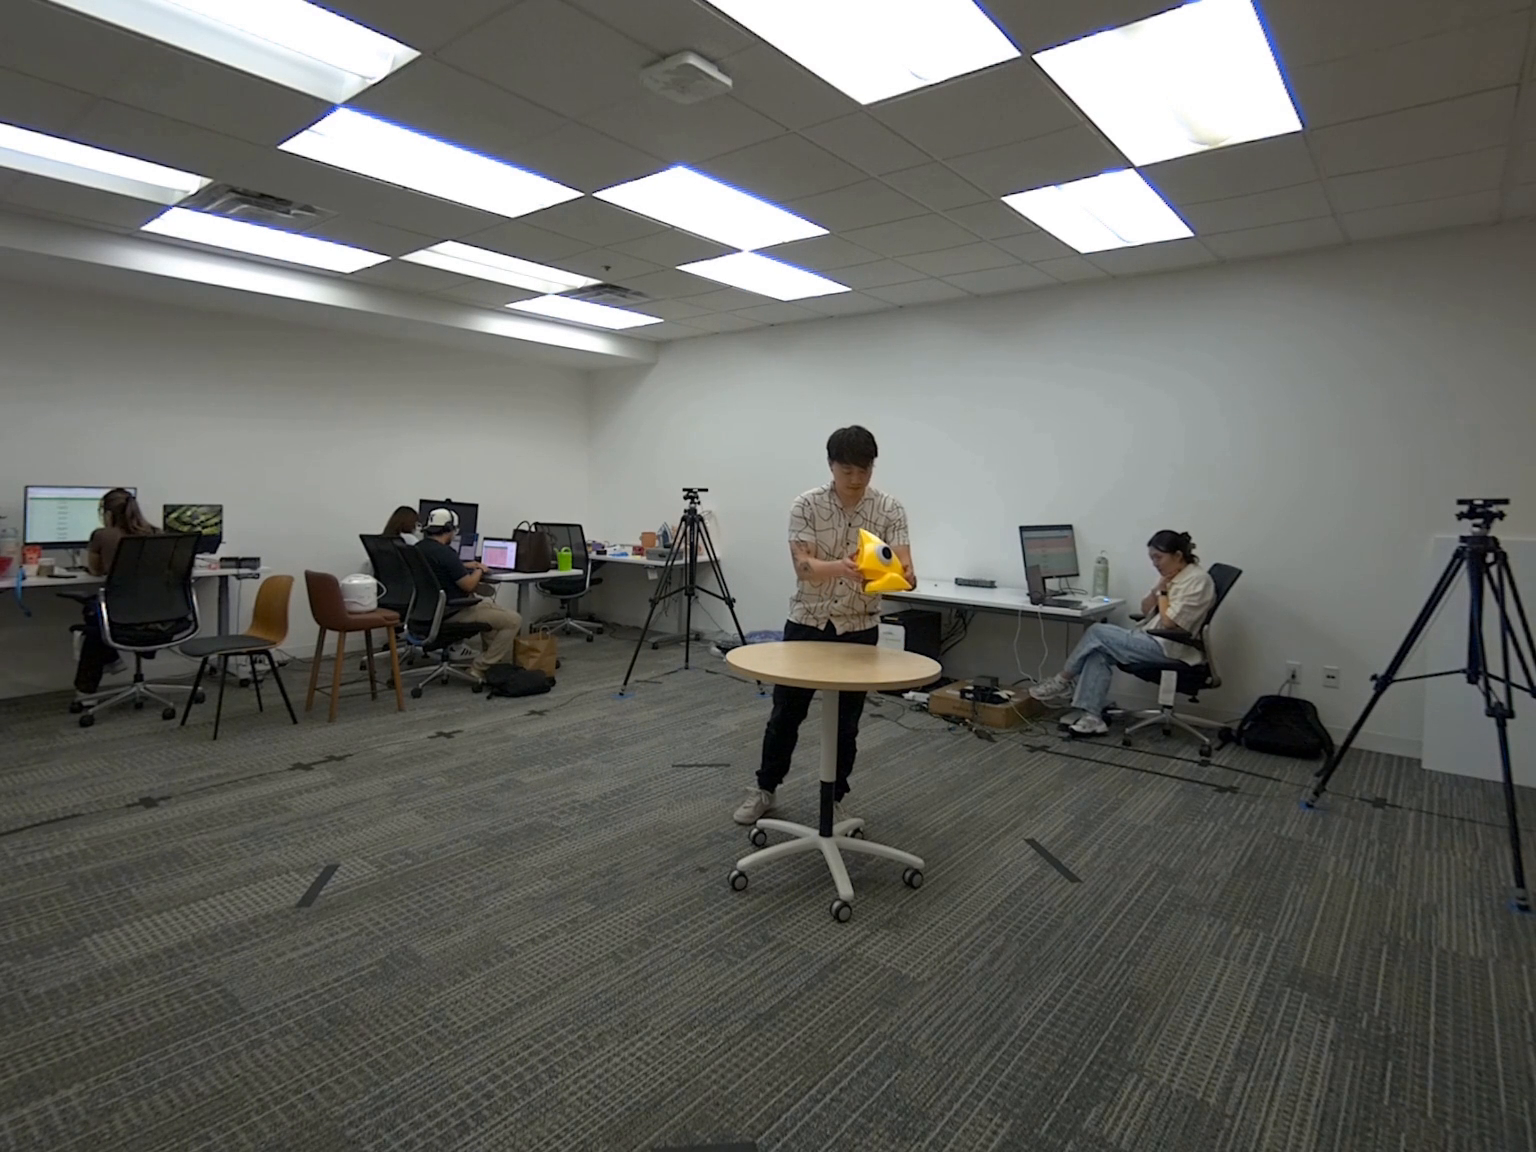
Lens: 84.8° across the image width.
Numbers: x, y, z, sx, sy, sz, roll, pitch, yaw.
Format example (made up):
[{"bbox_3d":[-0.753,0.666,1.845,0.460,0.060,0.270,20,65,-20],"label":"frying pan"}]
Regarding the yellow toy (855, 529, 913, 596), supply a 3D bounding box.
[{"bbox_3d":[0.391,-0.060,3.068,0.192,0.233,0.204,-5,-7,-7],"label":"yellow toy"}]
